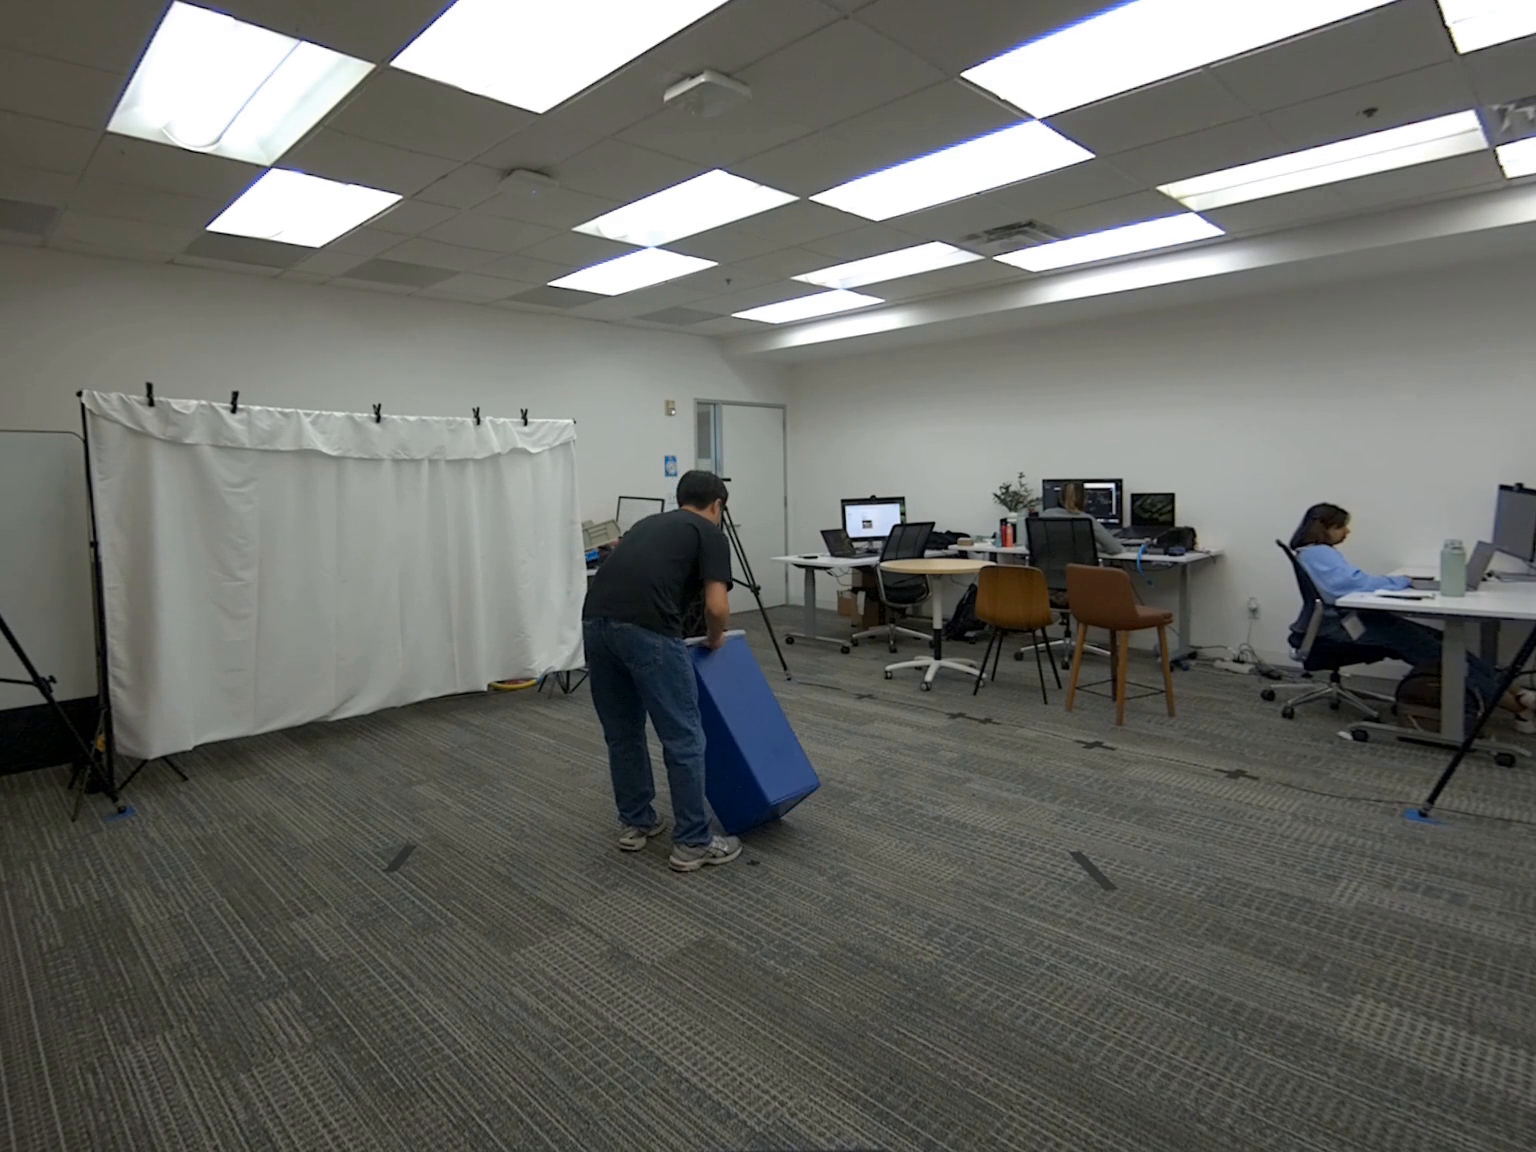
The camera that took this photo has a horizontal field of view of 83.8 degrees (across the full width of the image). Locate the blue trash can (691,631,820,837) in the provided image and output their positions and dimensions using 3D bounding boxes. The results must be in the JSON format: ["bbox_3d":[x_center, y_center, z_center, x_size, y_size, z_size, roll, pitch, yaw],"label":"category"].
[{"bbox_3d":[-0.135,0.629,3.482,0.368,0.735,0.373,-5,-36,-46],"label":"blue trash can"}]
